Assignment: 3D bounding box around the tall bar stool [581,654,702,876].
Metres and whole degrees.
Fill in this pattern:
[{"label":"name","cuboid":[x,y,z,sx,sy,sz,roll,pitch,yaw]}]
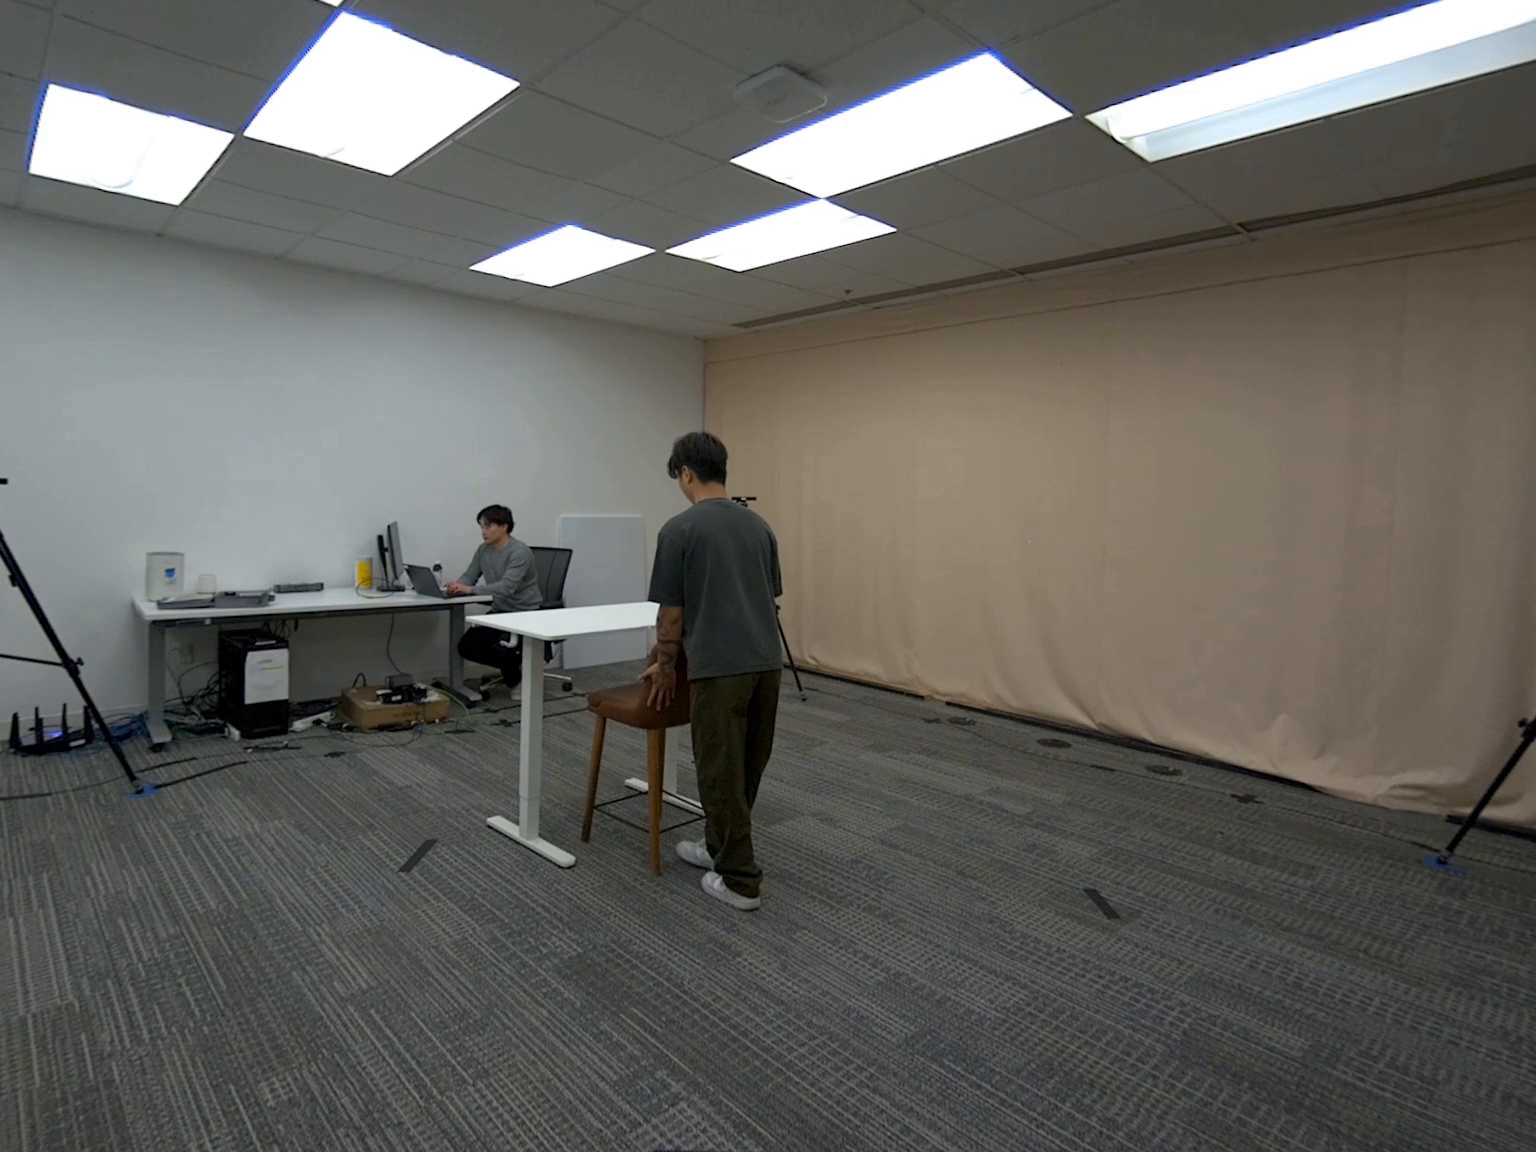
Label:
[{"label":"tall bar stool","cuboid":[-0.440,0.636,3.339,0.480,0.887,0.446,9,7,44]}]
